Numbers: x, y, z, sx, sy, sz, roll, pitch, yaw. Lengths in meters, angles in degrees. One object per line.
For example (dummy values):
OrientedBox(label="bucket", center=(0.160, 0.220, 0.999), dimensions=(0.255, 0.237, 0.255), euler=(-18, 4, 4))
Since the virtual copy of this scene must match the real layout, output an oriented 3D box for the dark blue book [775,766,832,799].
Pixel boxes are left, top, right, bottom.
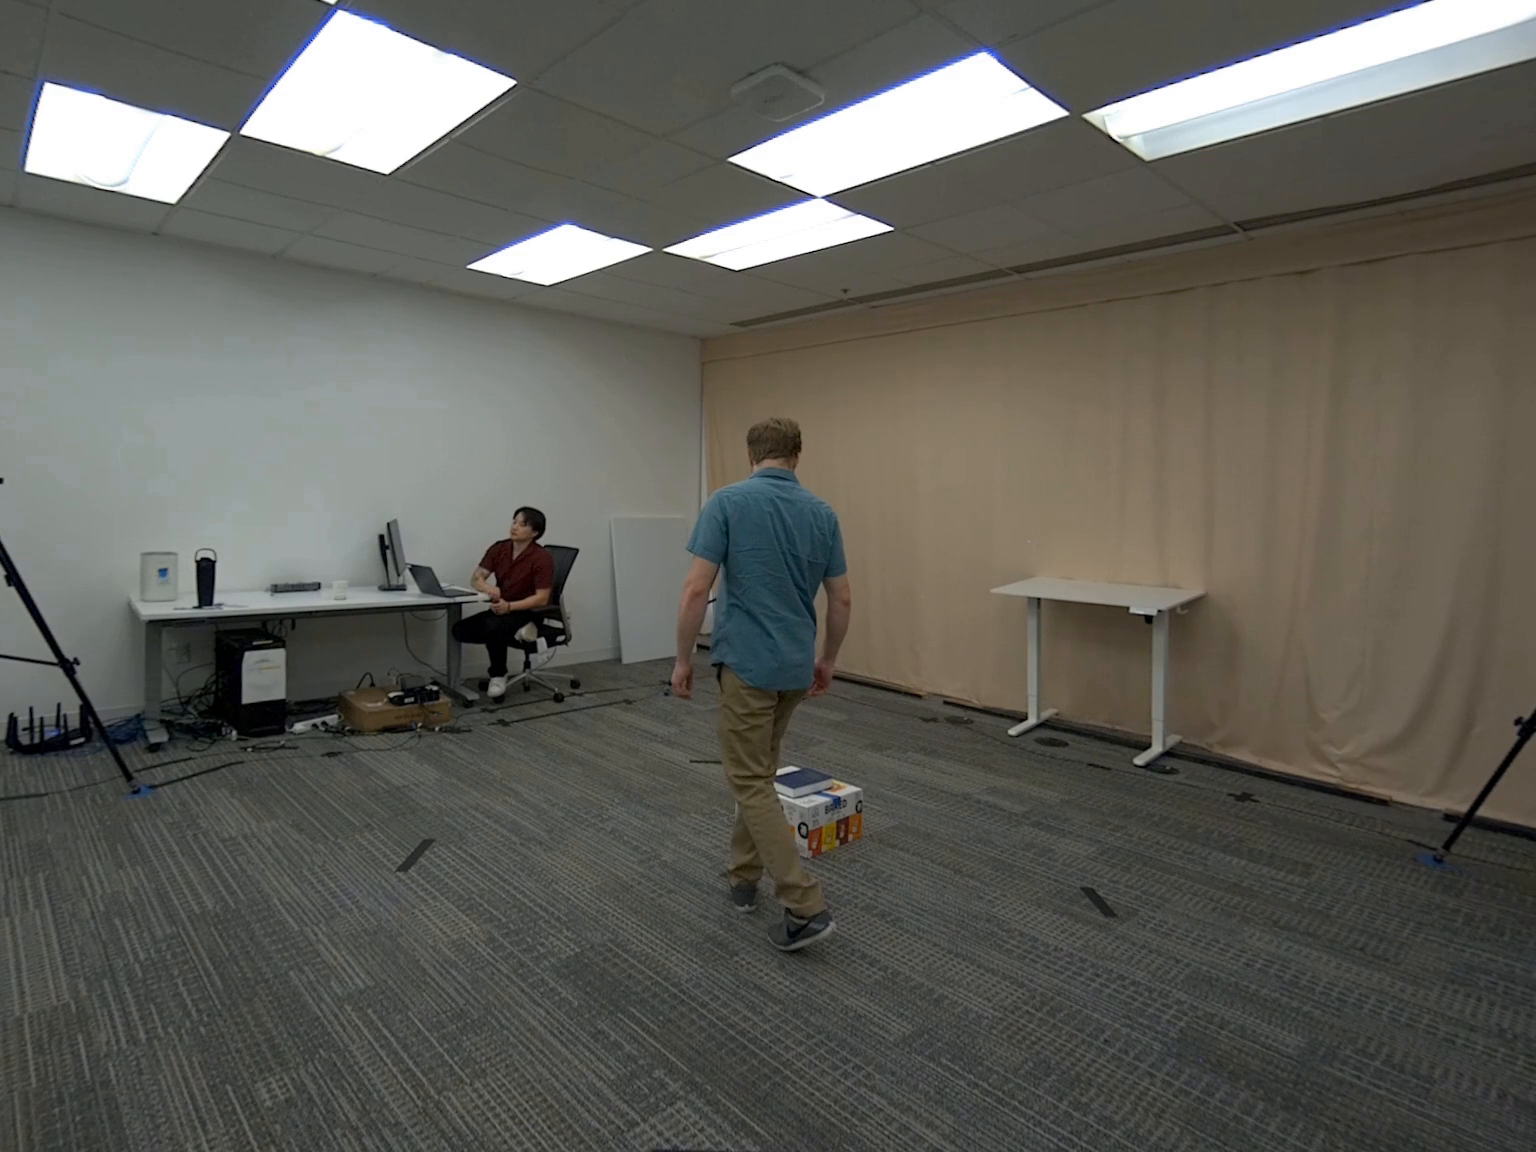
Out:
OrientedBox(label="dark blue book", center=(0.140, 0.865, 3.503), dimensions=(0.239, 0.045, 0.167), euler=(-3, 6, -42))
